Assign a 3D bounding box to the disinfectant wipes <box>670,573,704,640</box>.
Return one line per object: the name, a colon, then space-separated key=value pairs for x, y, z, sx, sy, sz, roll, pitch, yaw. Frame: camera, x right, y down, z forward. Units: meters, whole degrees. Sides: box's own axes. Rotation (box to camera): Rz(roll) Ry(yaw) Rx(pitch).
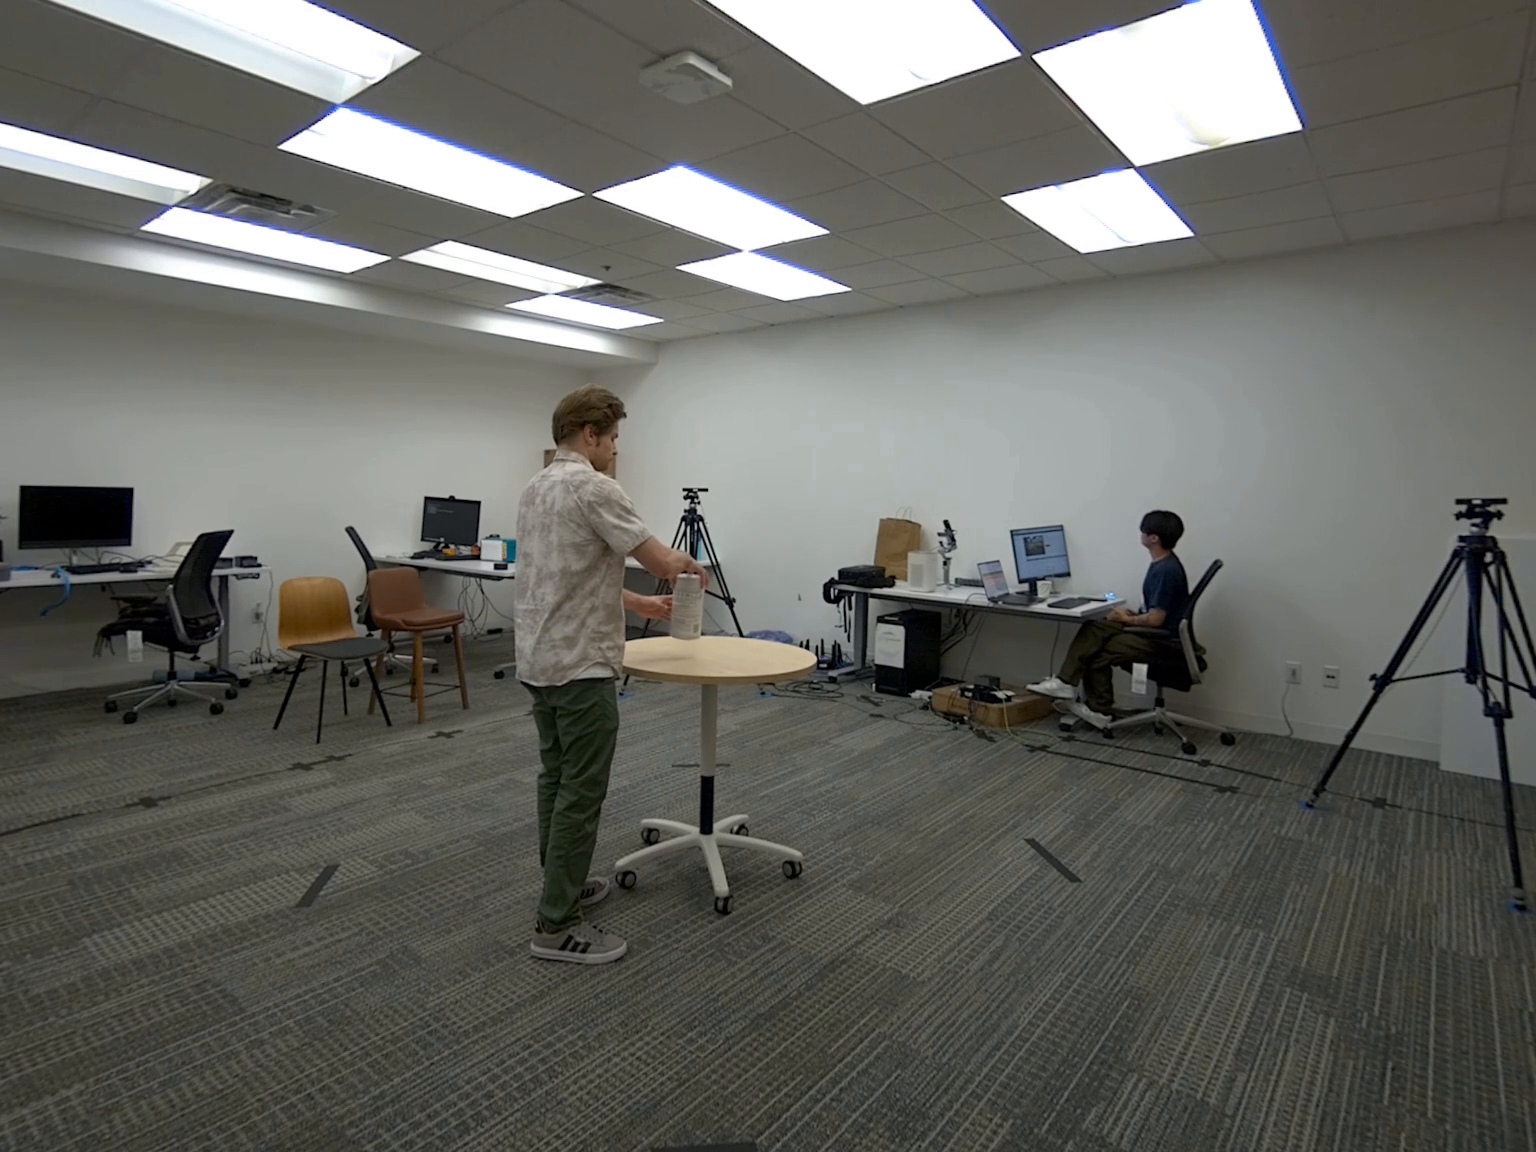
disinfectant wipes: x=-0.286 y=0.110 z=2.956 sx=0.117 sy=0.216 sz=0.119 roll=5 pitch=6 yaw=-2
